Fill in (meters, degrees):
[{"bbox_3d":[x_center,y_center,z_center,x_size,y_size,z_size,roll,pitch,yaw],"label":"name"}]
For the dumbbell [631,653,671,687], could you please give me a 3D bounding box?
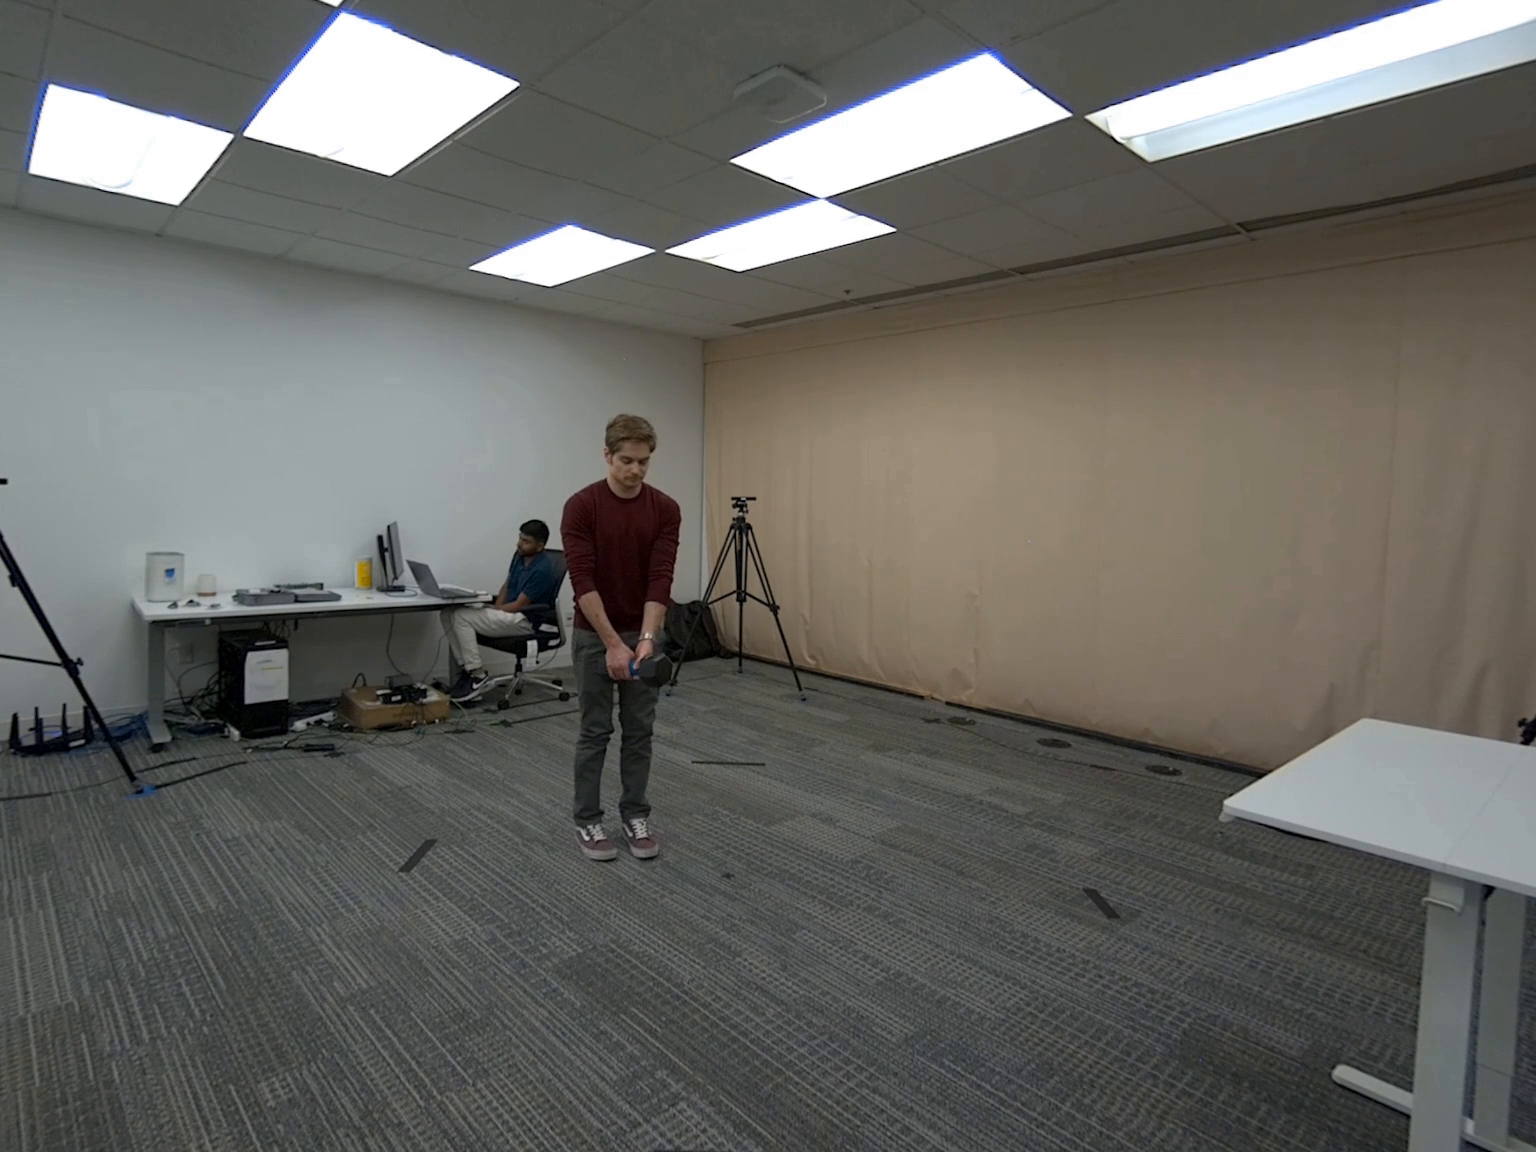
[{"bbox_3d":[-0.494,0.338,3.042,0.300,0.109,0.119,-2,-42,41],"label":"dumbbell"}]
